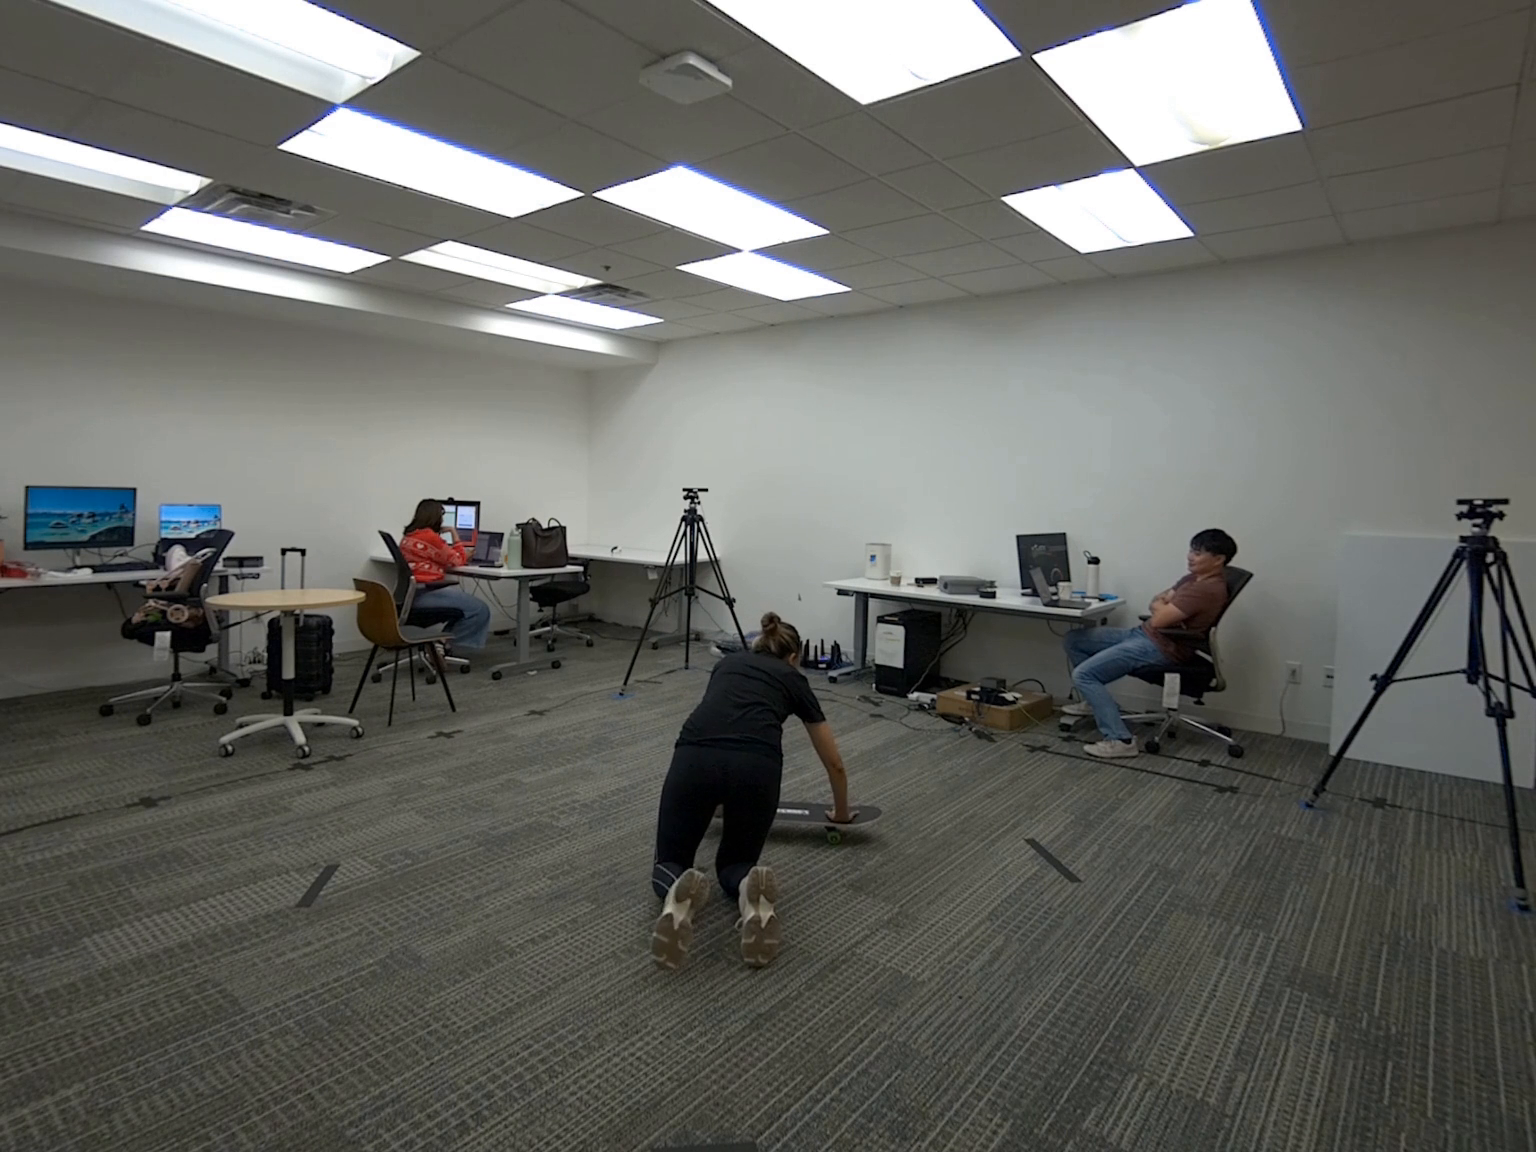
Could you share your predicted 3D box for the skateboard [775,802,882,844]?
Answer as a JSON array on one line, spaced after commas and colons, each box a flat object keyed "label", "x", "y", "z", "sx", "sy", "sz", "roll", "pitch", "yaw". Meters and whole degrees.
[{"label": "skateboard", "x": 0.053, "y": 0.982, "z": 3.460, "sx": 0.791, "sy": 0.110, "sz": 0.193, "roll": 2, "pitch": 6, "yaw": 6}]
